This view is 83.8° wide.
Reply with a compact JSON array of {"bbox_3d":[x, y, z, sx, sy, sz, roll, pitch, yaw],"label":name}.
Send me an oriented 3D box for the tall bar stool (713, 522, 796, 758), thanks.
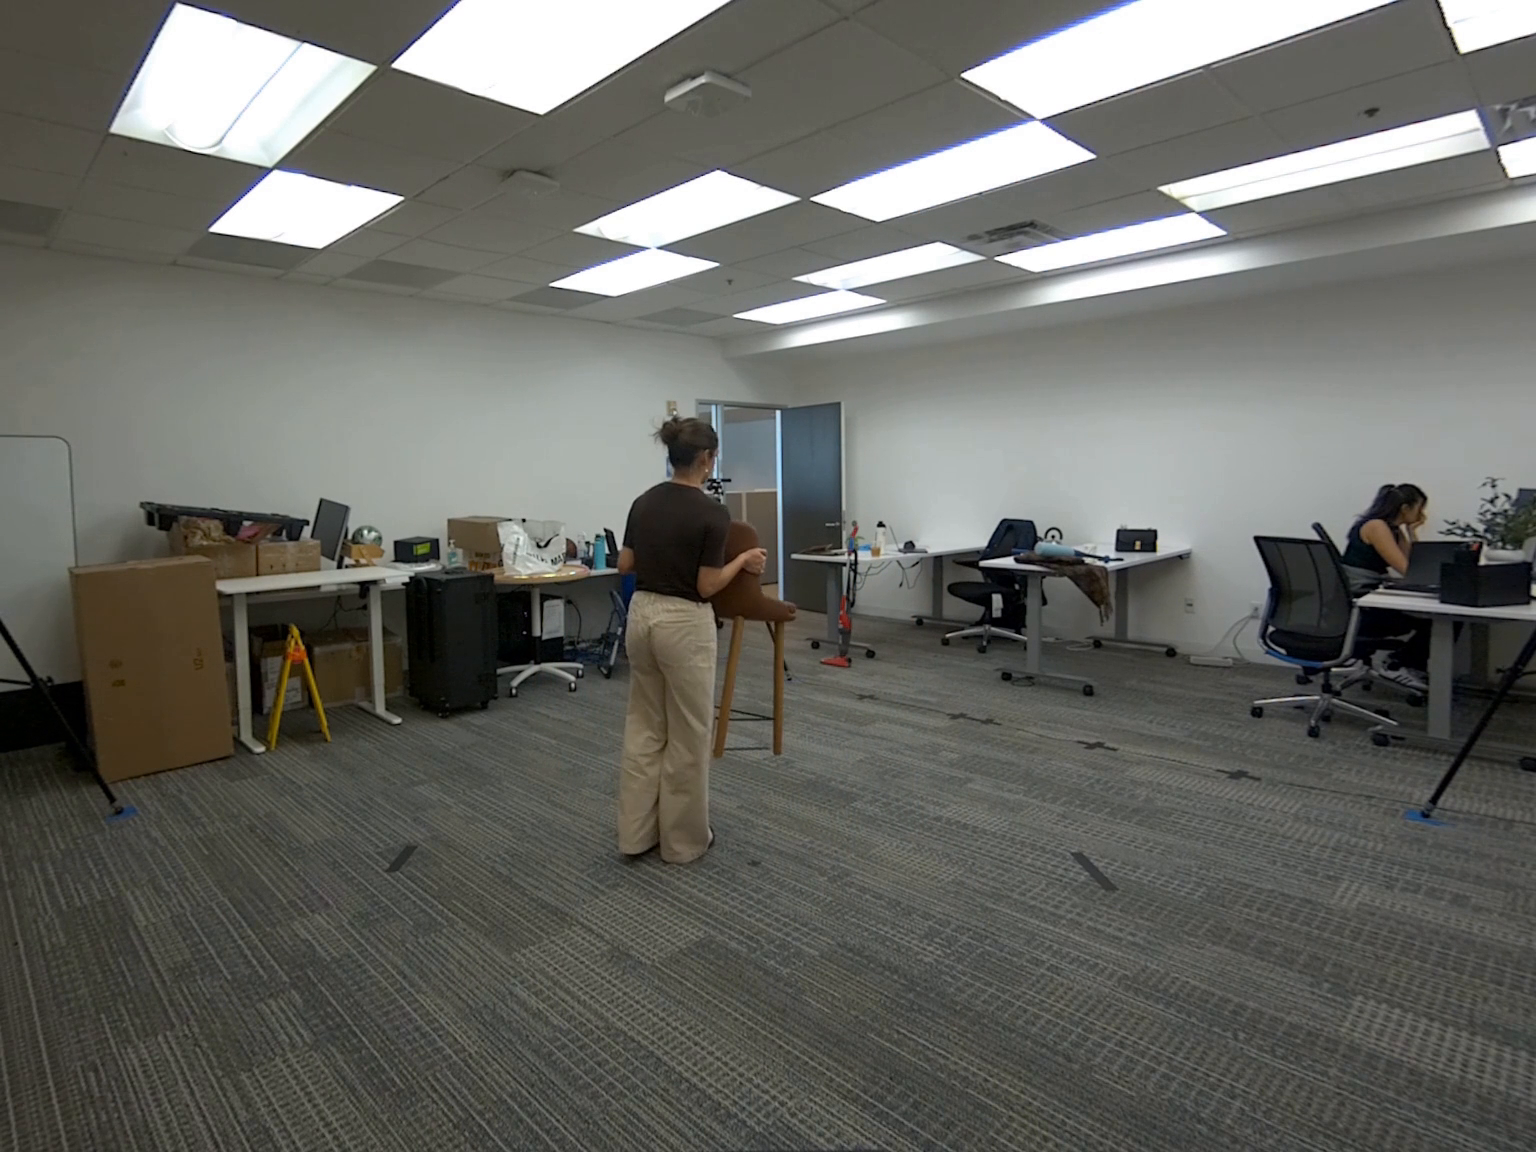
[{"bbox_3d":[-0.174,0.249,3.423,0.469,0.893,0.452,4,-6,33],"label":"tall bar stool"}]
